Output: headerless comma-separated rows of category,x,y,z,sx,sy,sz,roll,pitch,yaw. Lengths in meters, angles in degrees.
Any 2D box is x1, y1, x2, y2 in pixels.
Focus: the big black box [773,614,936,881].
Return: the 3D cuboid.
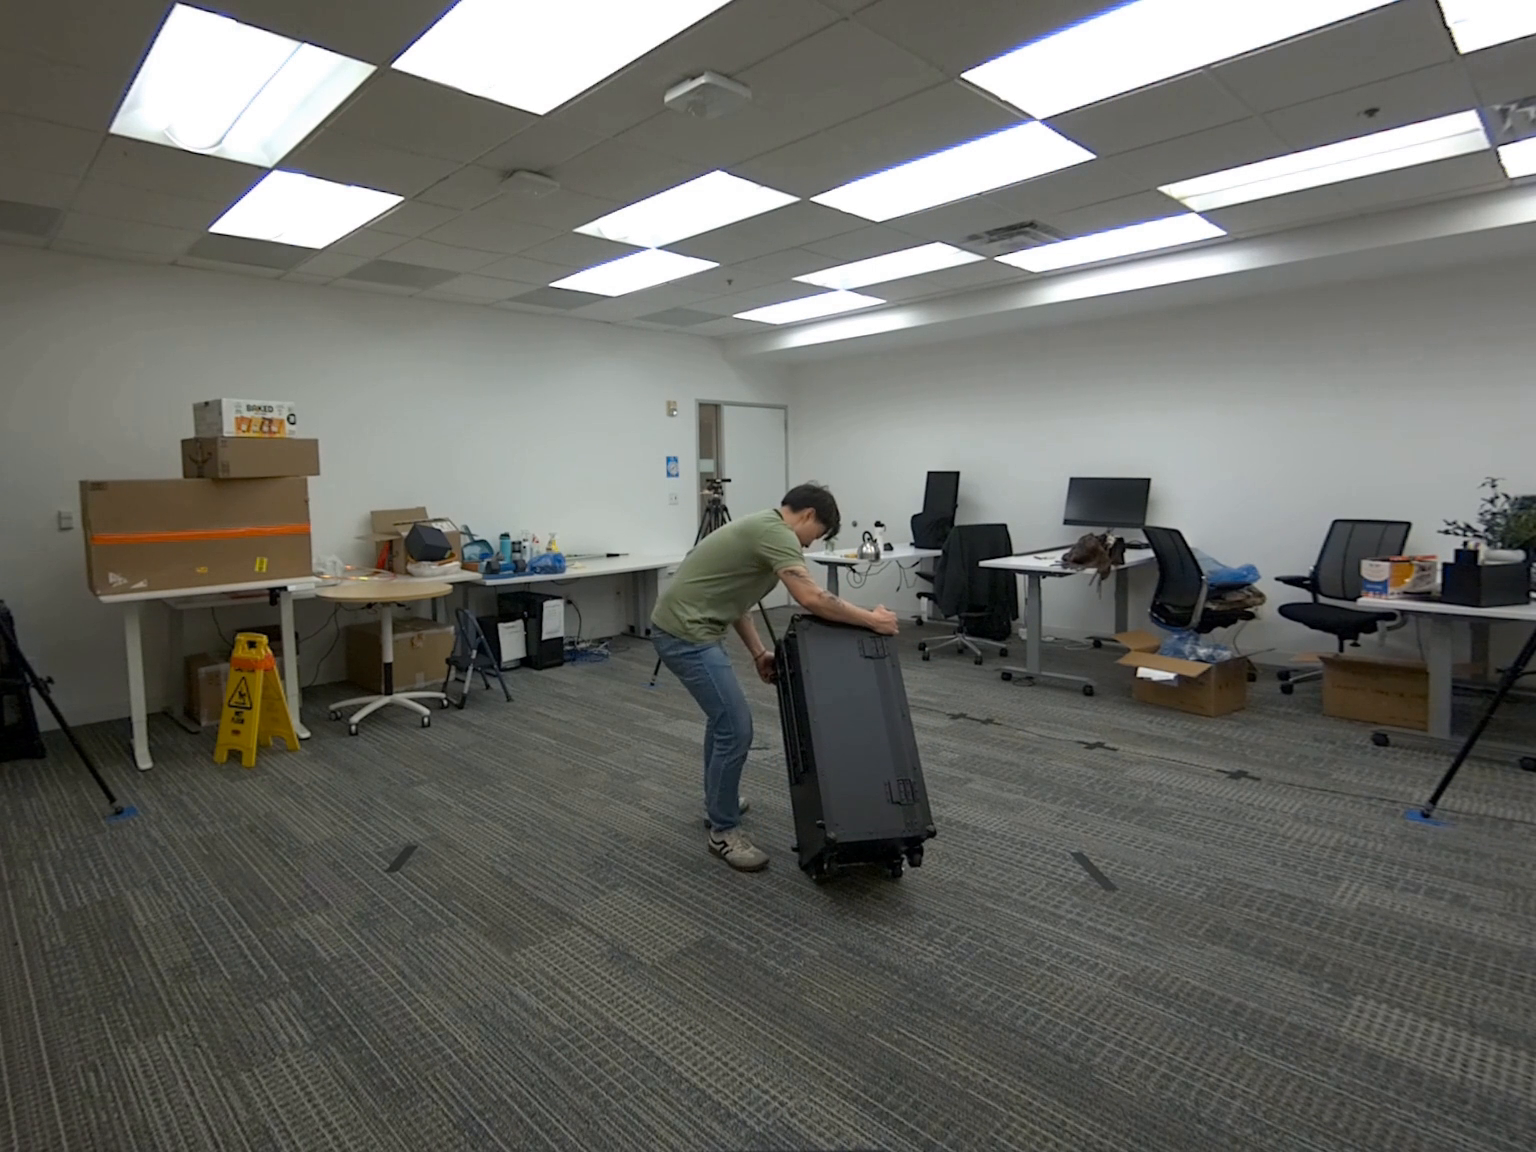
big black box,0.270,0.613,3.042,0.393,0.884,0.512,-3,-29,-10
